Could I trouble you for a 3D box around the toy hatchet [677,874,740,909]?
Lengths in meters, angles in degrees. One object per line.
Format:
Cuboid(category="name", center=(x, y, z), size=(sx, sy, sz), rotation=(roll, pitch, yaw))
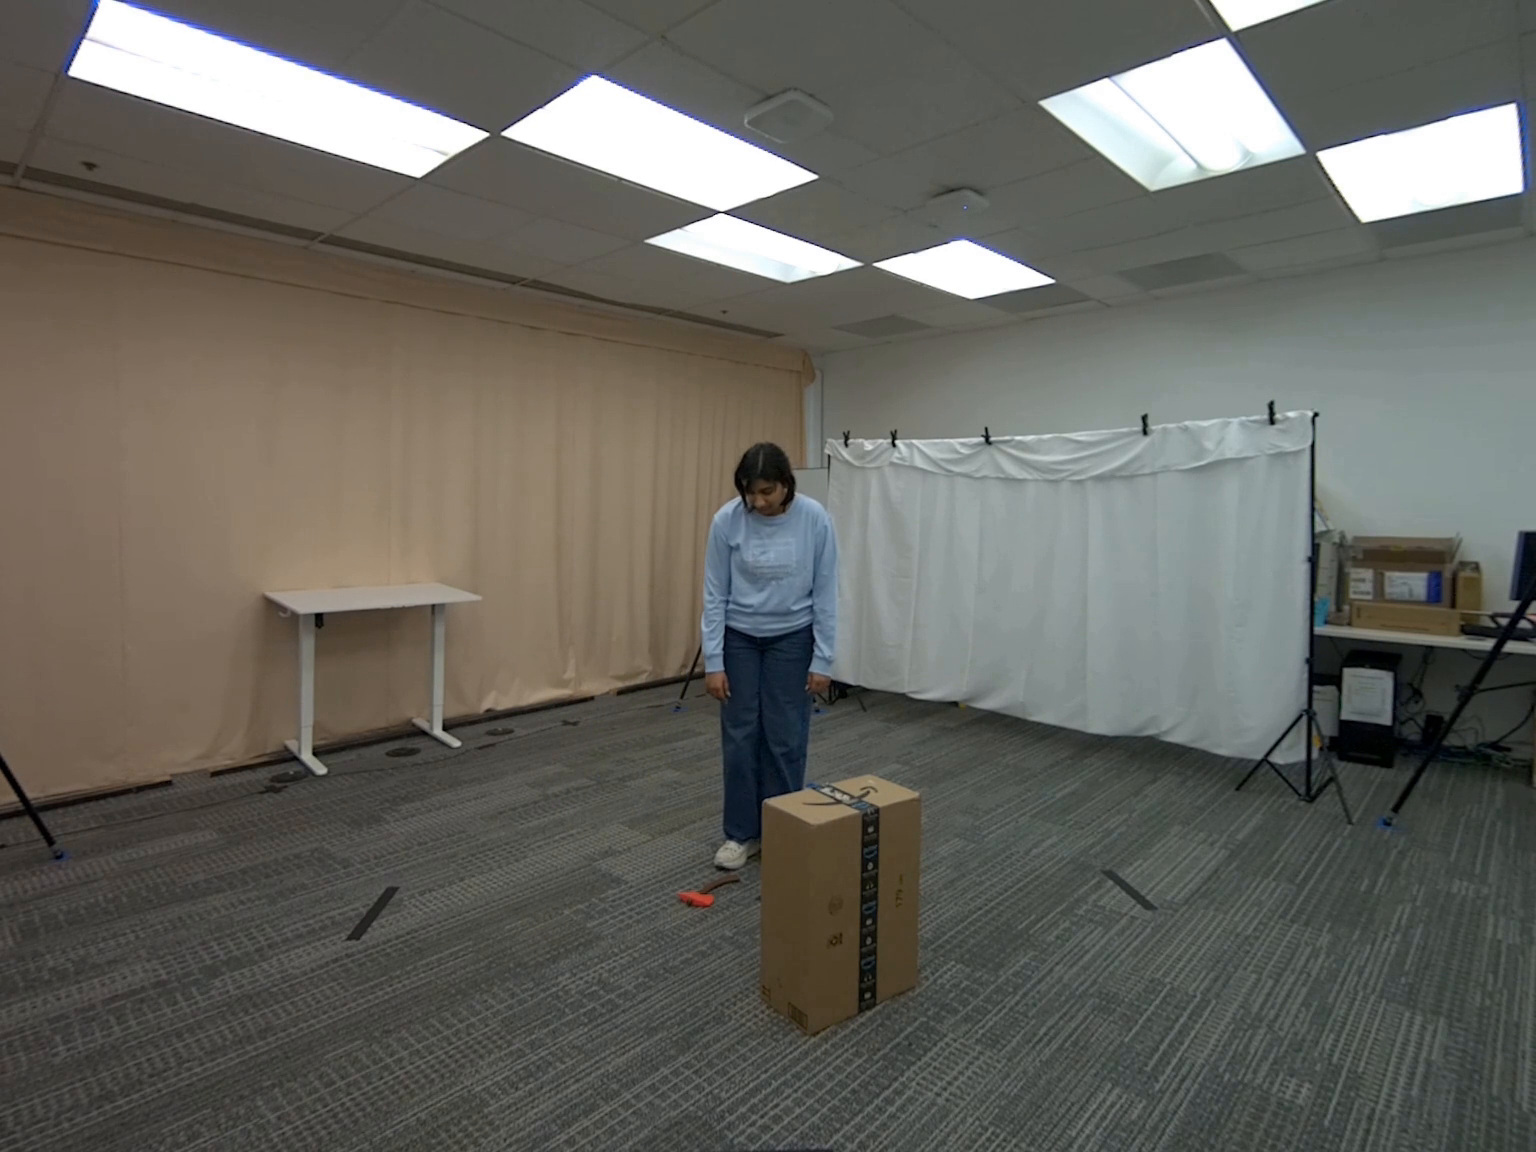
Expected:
Cuboid(category="toy hatchet", center=(-0.181, 1.128, 3.016), size=(0.262, 0.029, 0.135), rotation=(-2, 5, -41))
